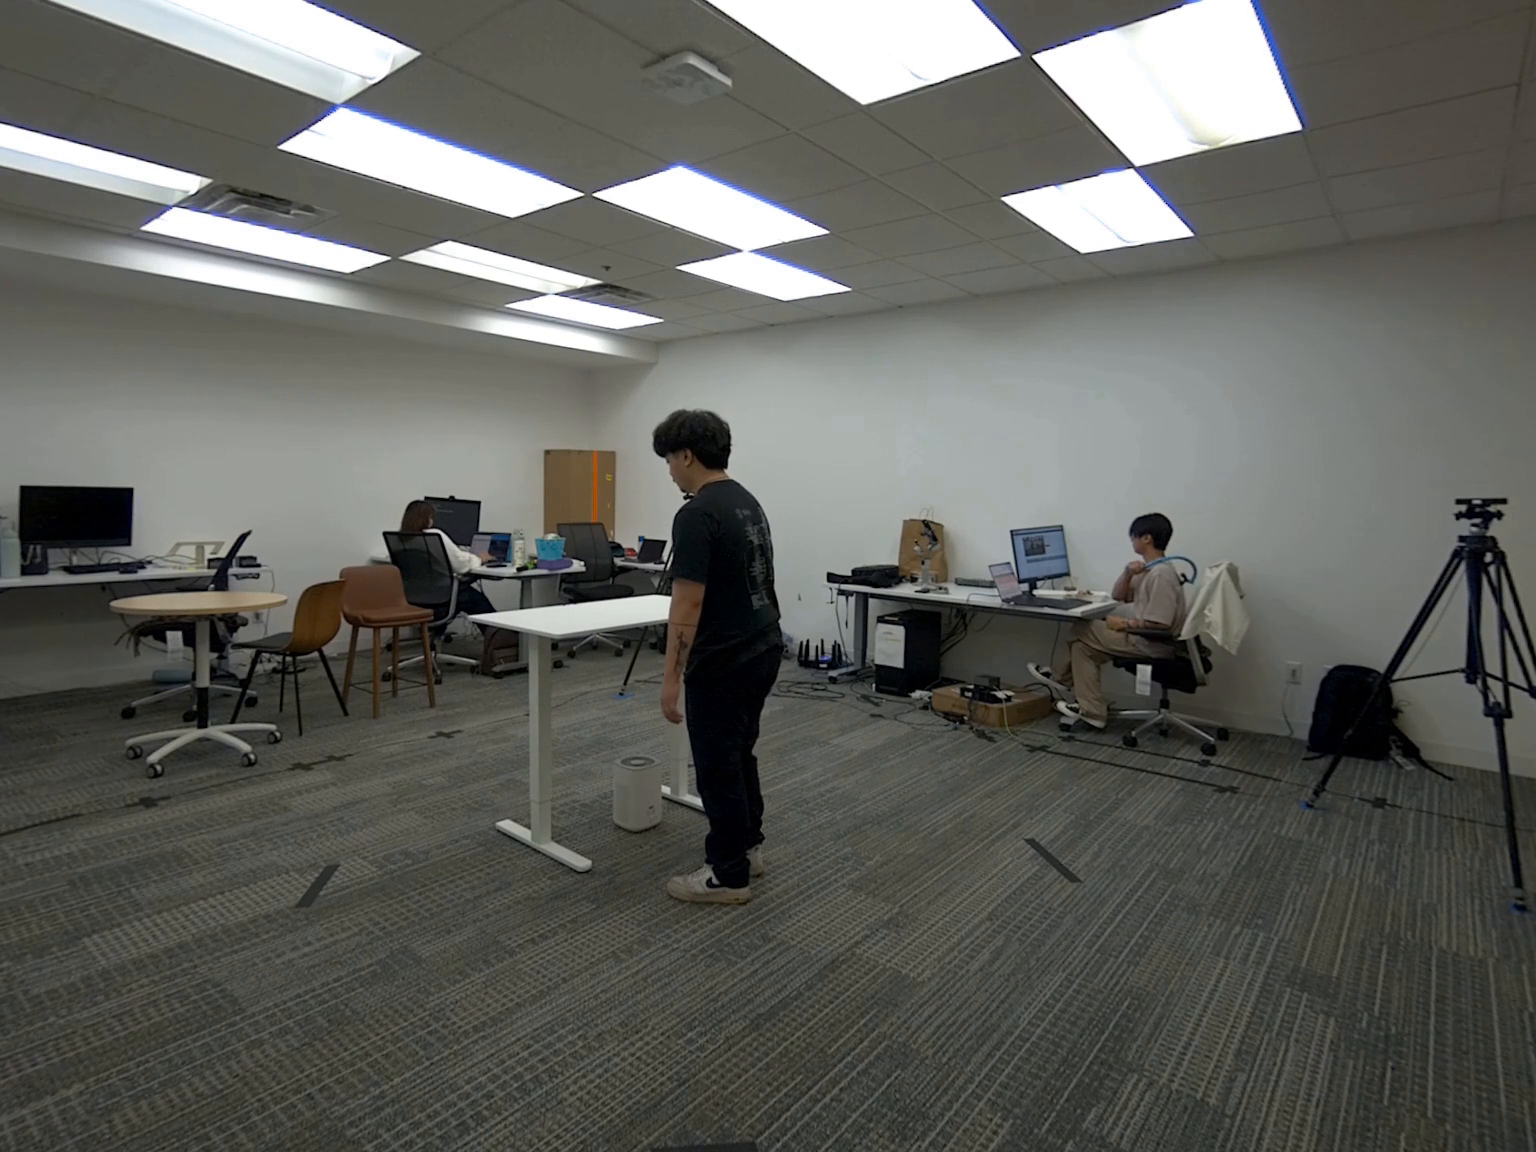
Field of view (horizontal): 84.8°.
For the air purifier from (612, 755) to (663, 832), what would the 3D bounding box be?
[{"bbox_3d":[-0.550,0.891,3.506,0.177,0.265,0.166,3,4,41],"label":"air purifier"}]
